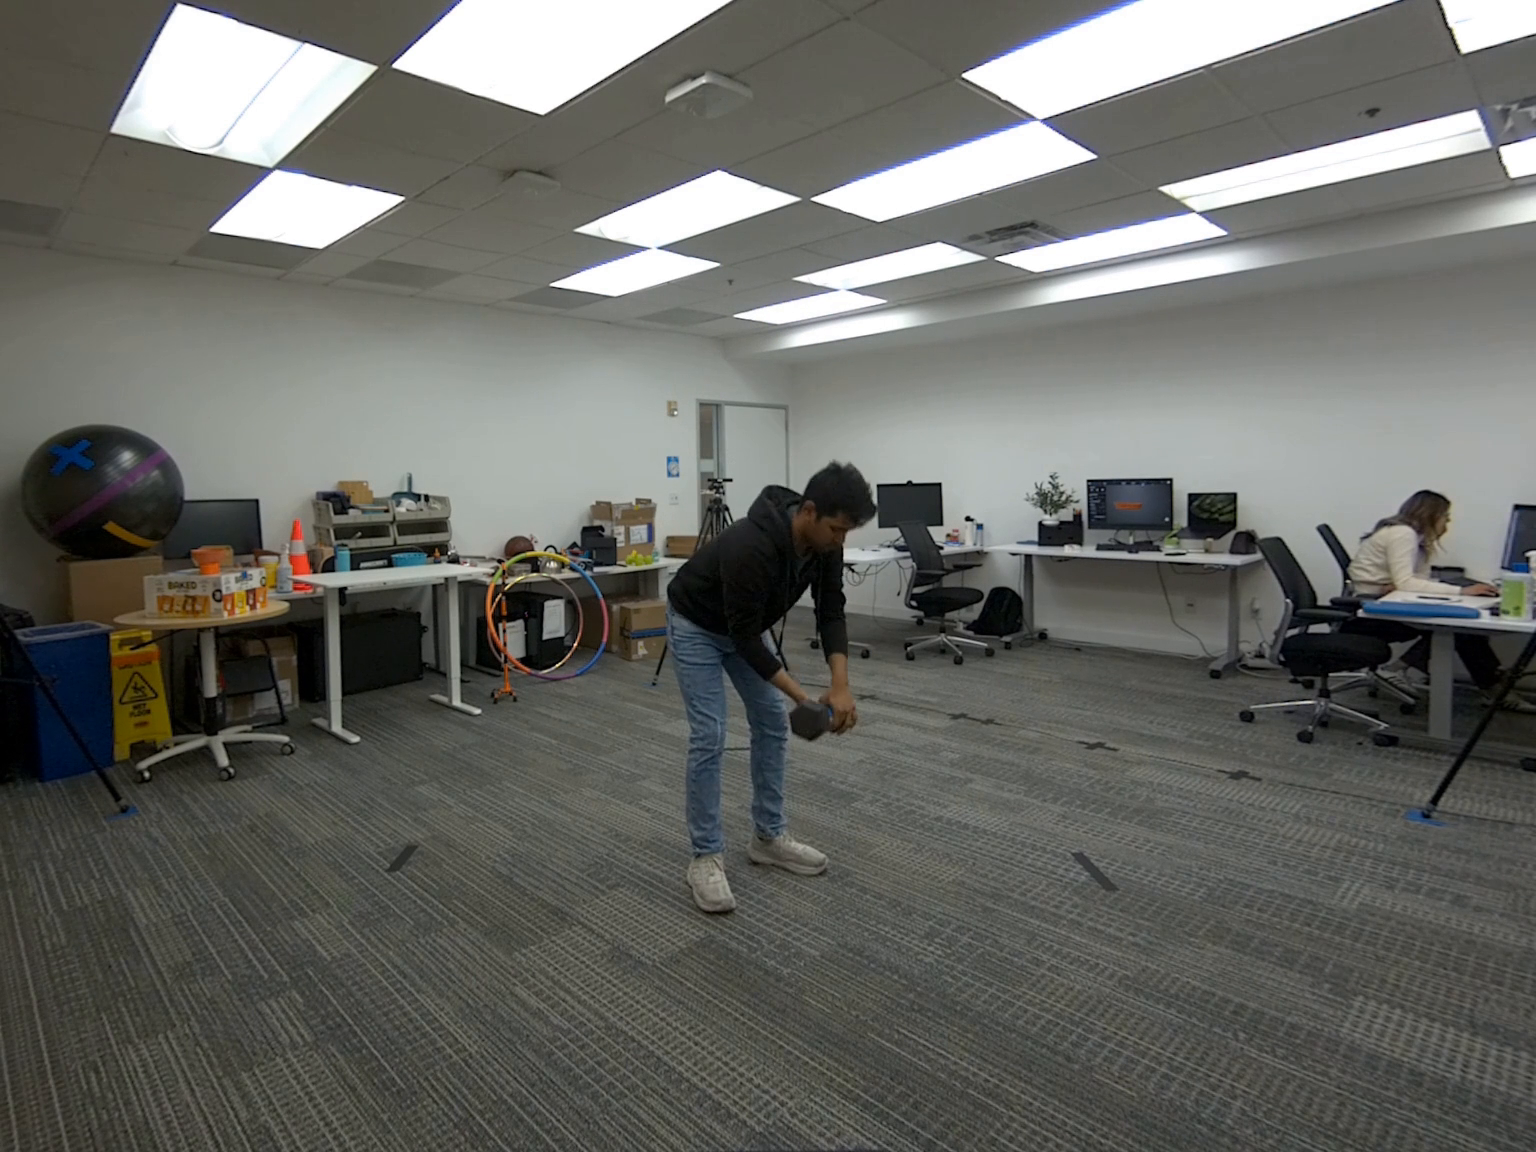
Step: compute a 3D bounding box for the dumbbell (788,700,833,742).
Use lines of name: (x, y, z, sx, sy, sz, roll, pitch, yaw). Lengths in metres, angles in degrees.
dumbbell: (0.178, 0.439, 2.674, 0.123, 0.111, 0.286, -39, -18, 19)
